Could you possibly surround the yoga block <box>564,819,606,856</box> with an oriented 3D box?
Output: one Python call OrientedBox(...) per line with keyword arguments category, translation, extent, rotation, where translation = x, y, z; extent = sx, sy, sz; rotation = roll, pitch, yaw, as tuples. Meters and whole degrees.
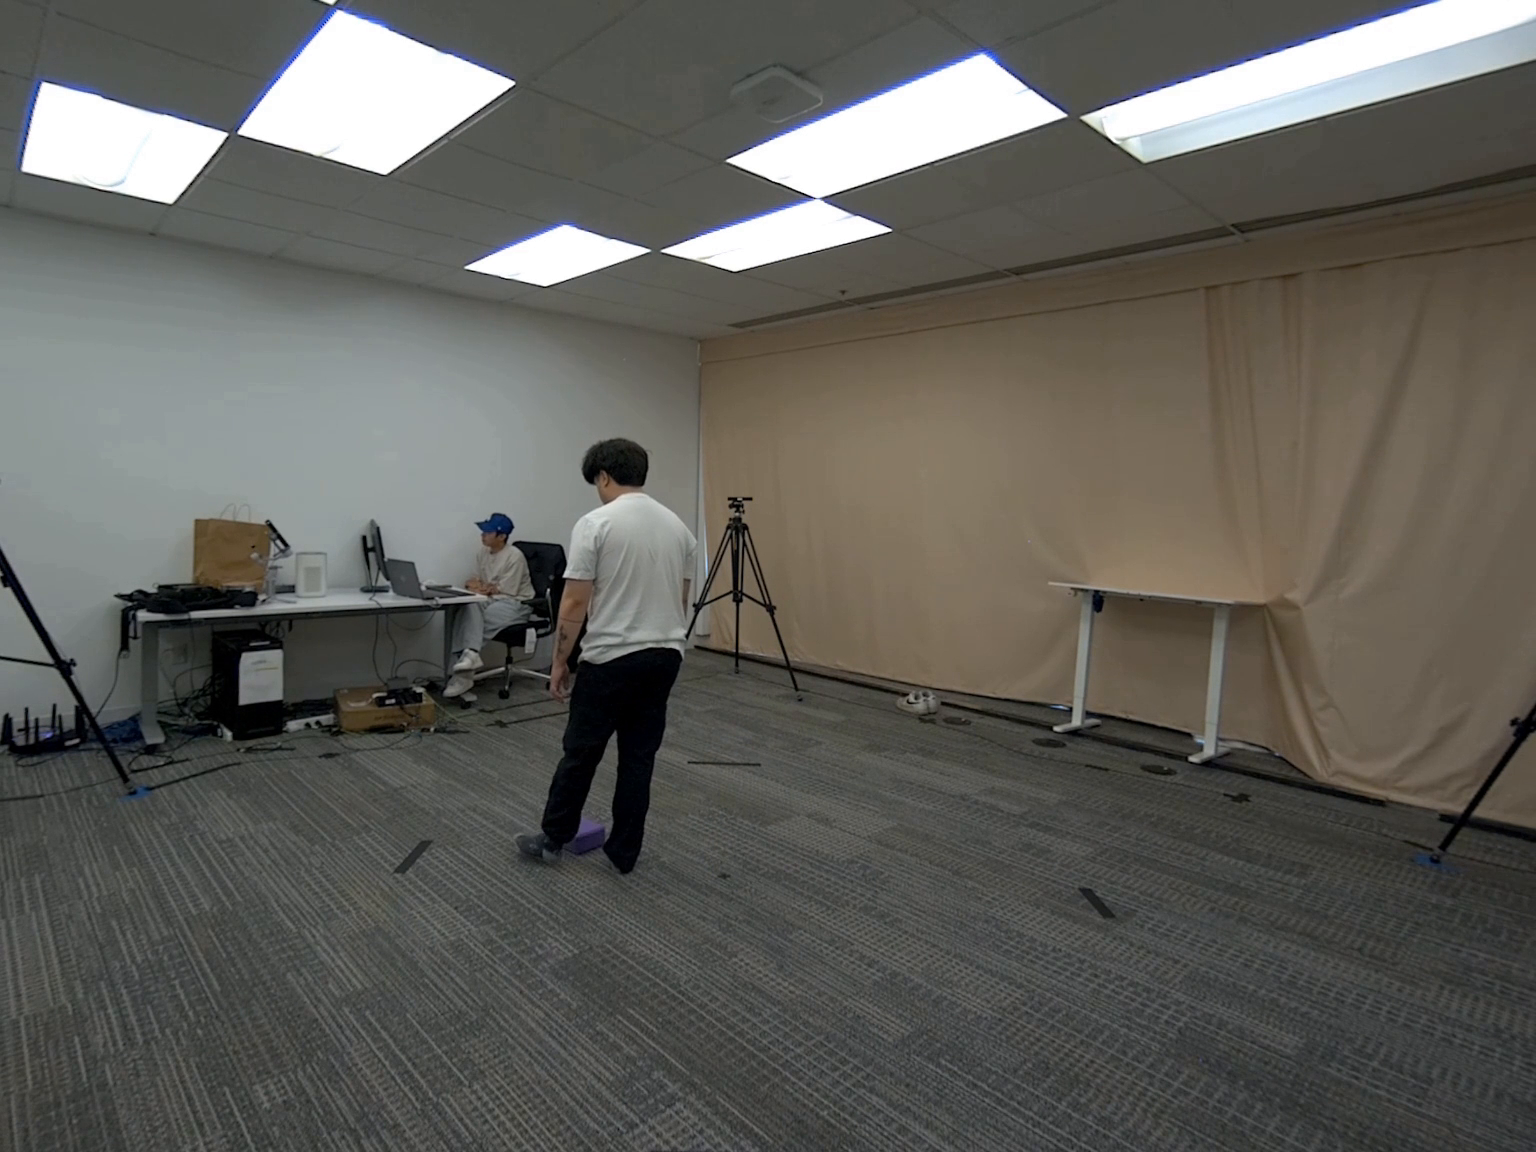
OrientedBox(category="yoga block", translation=(-0.782, 1.031, 3.370), extent=(0.235, 0.076, 0.146), rotation=(5, 6, 39))
